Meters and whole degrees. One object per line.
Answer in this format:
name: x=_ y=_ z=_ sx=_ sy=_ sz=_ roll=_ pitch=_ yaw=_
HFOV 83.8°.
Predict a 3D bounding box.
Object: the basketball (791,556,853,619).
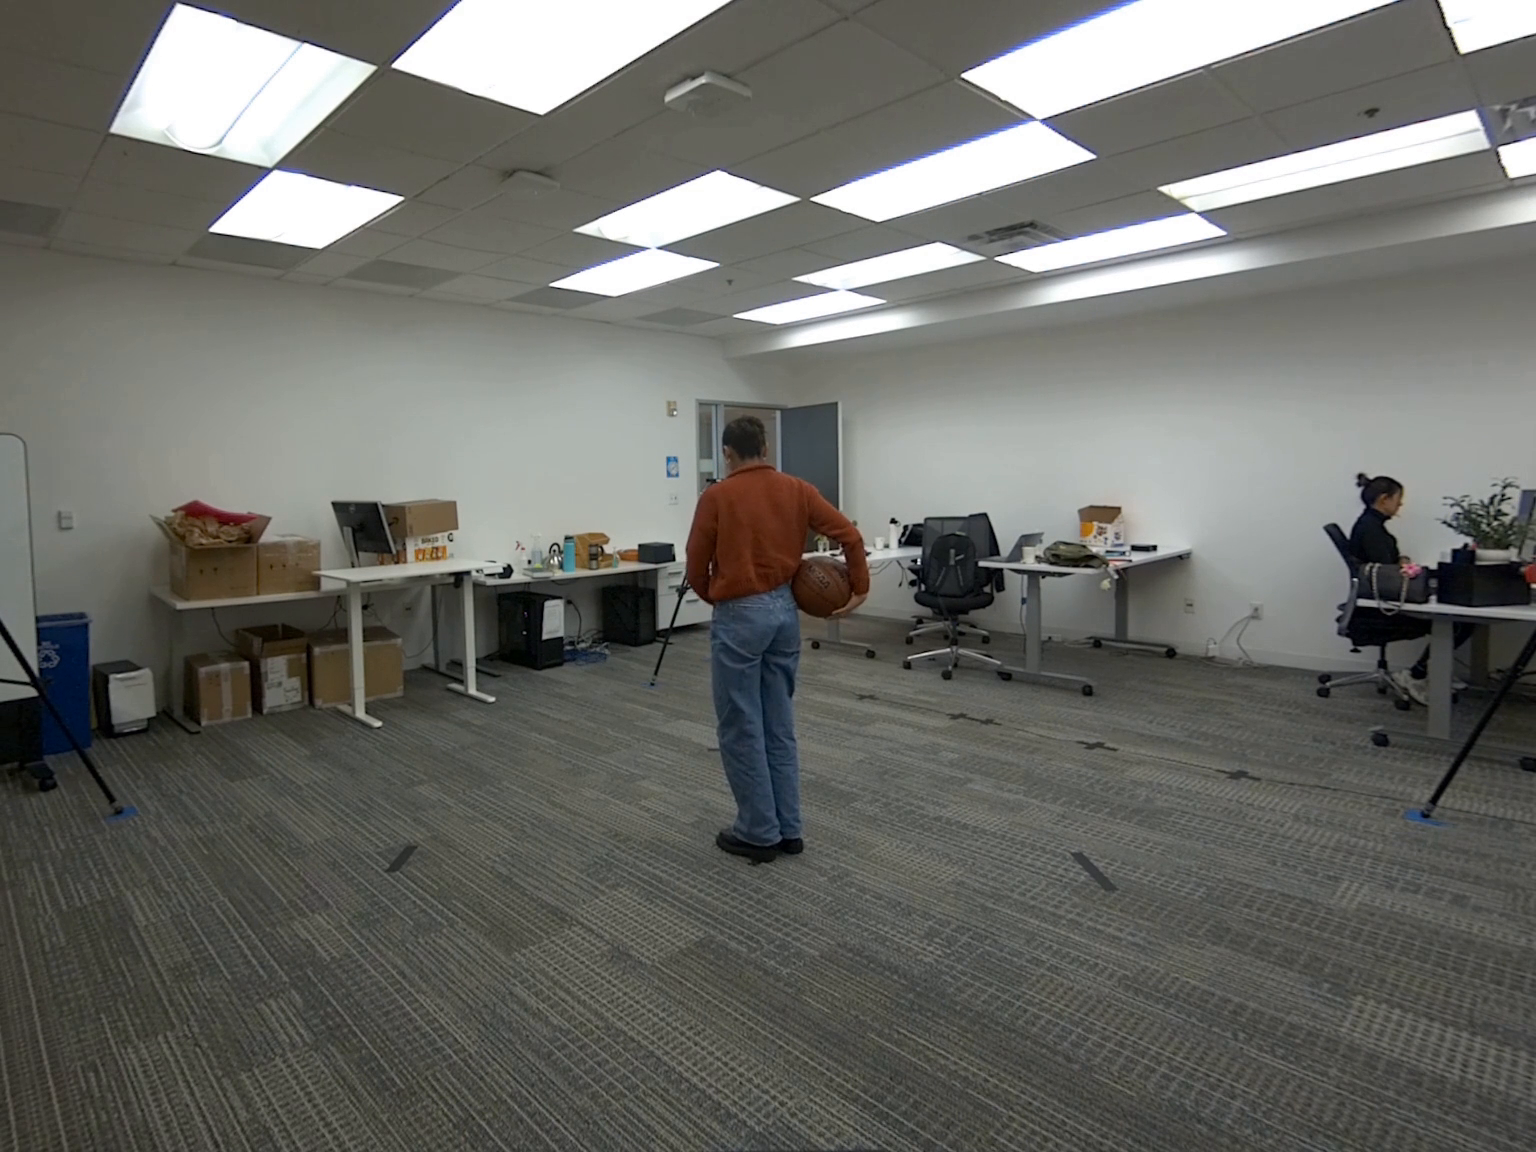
basketball: x=0.196 y=0.037 z=3.247 sx=0.236 sy=0.235 sz=0.237 roll=-1 pitch=5 yaw=-2
